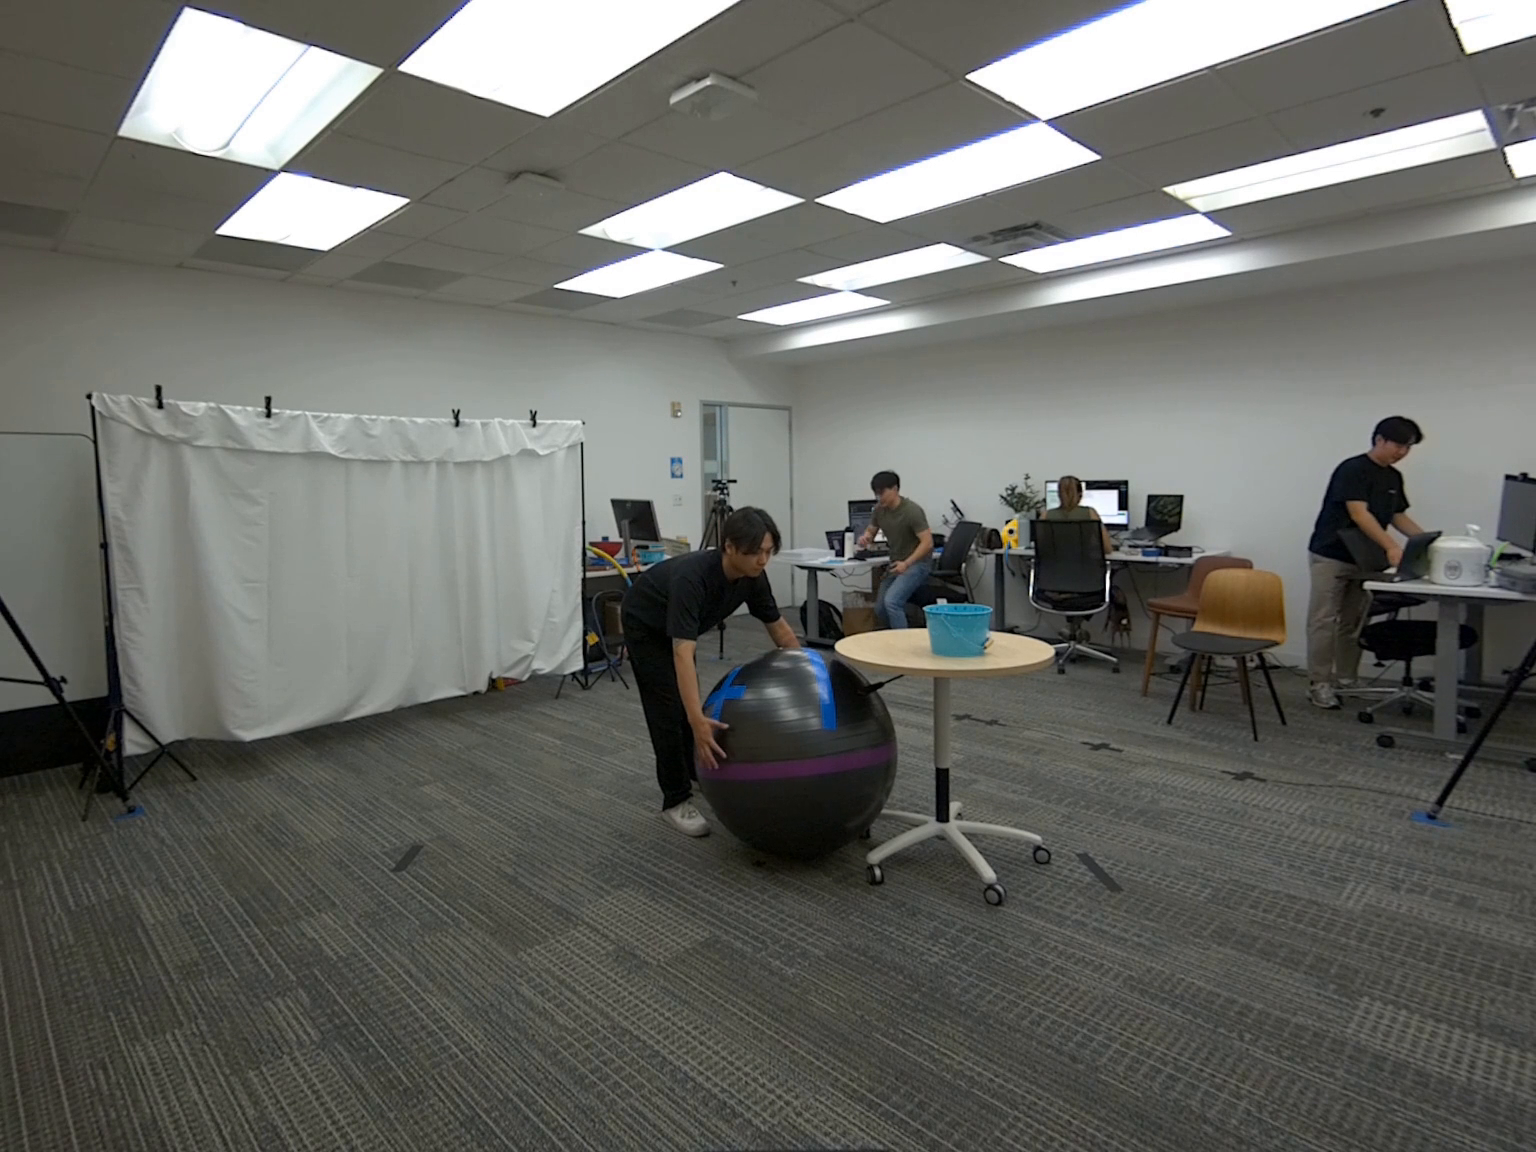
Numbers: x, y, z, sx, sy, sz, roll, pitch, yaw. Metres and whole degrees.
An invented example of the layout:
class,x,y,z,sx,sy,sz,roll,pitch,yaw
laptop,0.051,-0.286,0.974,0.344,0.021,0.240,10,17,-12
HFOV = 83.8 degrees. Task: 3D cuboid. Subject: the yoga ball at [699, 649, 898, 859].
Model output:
class,x,y,z,sx,sy,sz,roll,pitch,yaw
yoga ball,0.098,0.663,3.216,0.757,0.755,0.762,-1,5,-2
